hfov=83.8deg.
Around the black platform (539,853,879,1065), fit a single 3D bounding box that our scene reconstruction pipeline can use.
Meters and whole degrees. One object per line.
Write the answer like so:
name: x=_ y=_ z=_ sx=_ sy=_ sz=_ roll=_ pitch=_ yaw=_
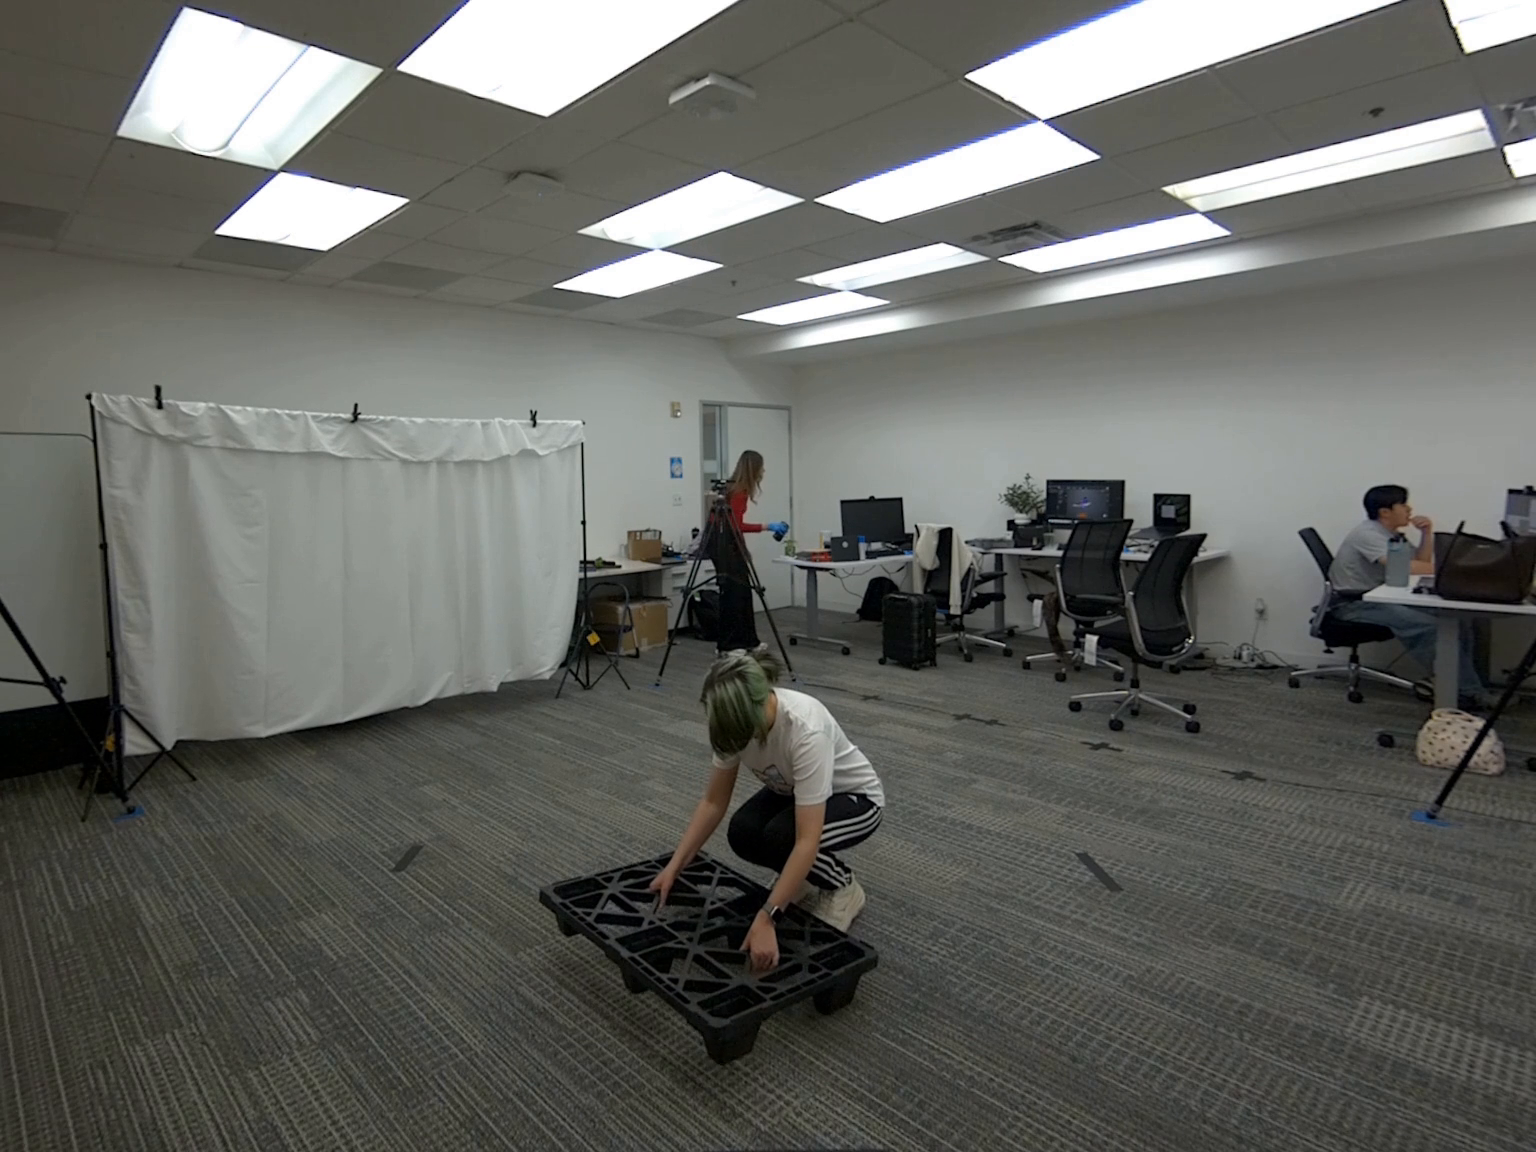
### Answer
black platform: x=-0.193 y=1.030 z=2.403 sx=0.587 sy=0.143 sz=0.832 roll=1 pitch=6 yaw=-43
